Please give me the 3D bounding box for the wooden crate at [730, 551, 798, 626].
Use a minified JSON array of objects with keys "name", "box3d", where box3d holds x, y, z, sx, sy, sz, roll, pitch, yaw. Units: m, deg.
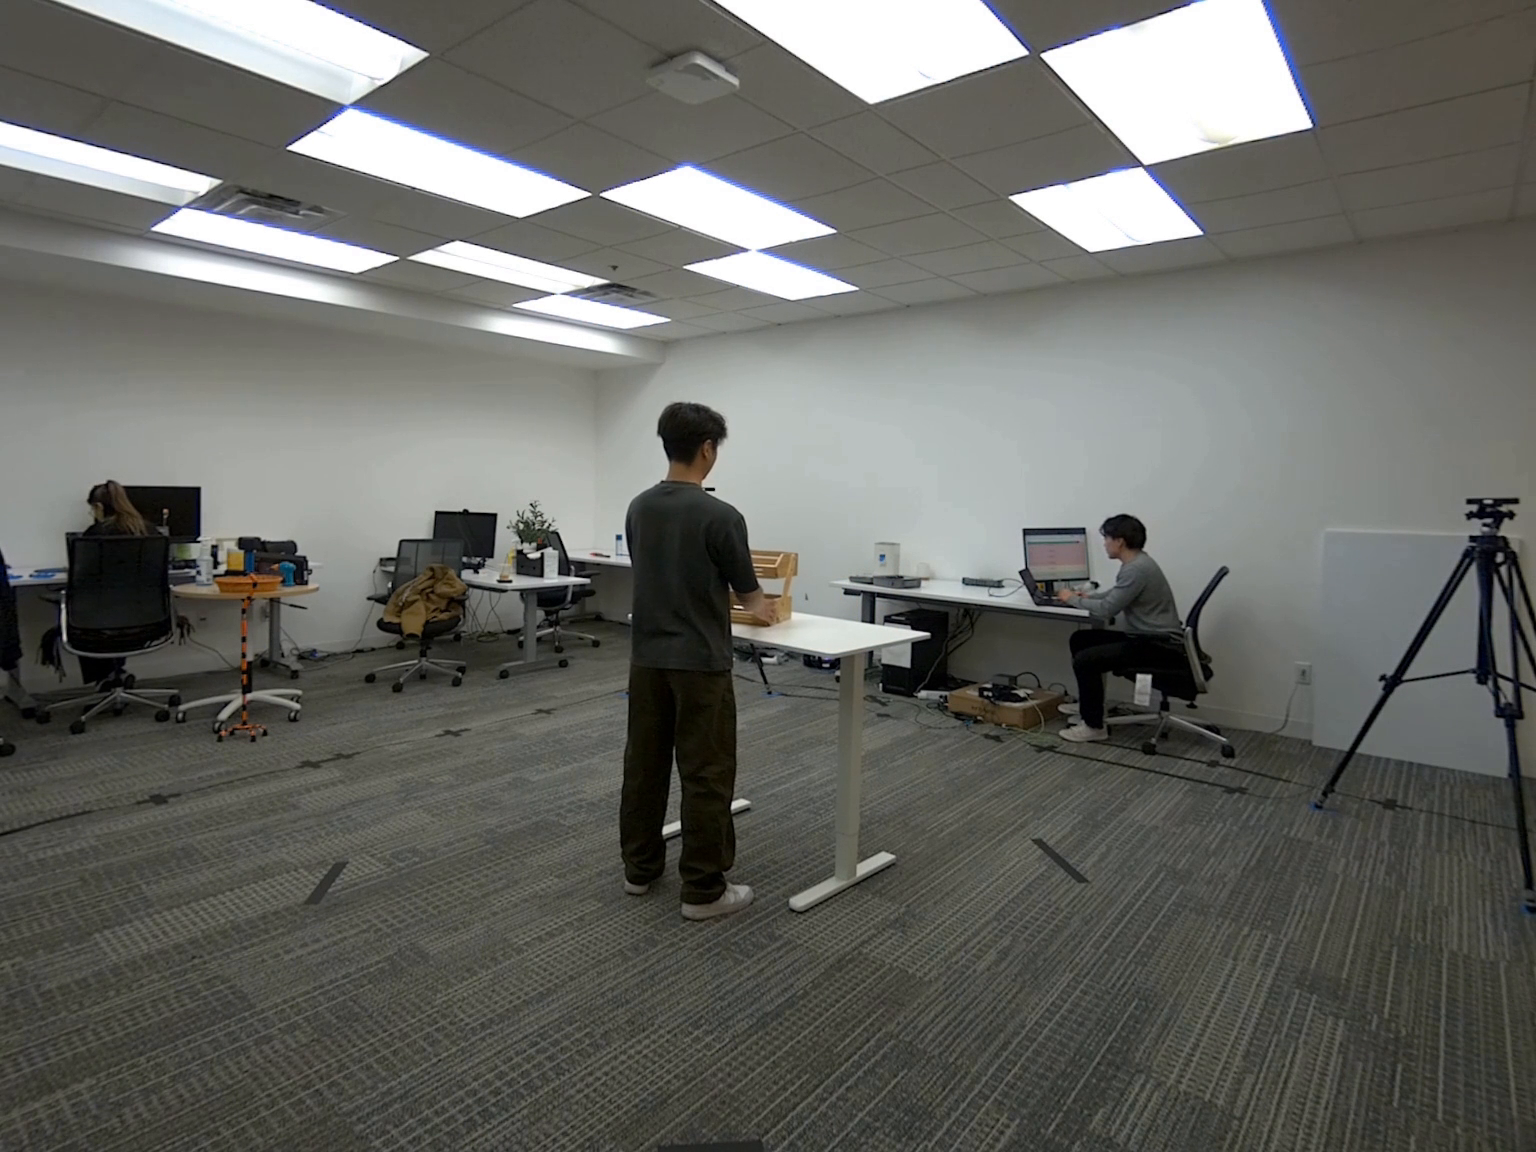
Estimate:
[{"name":"wooden crate","box3d":[-0.092,0.033,3.331,0.333,0.272,0.295,4,5,26]}]
